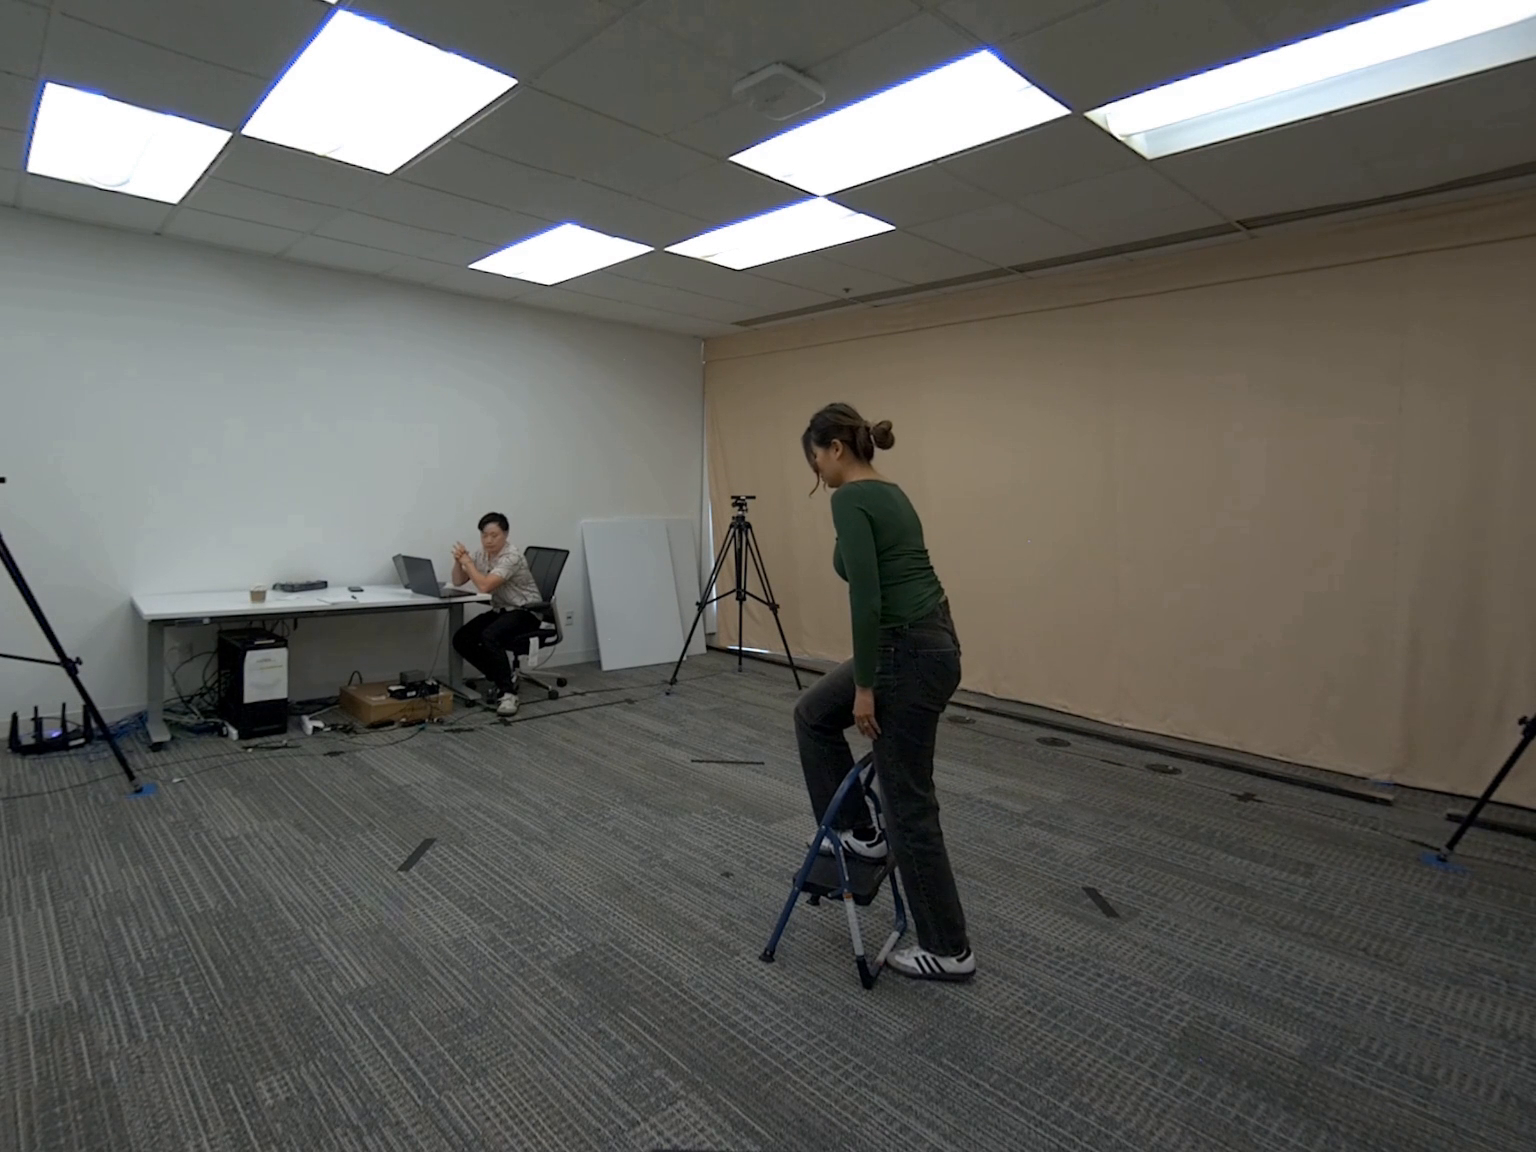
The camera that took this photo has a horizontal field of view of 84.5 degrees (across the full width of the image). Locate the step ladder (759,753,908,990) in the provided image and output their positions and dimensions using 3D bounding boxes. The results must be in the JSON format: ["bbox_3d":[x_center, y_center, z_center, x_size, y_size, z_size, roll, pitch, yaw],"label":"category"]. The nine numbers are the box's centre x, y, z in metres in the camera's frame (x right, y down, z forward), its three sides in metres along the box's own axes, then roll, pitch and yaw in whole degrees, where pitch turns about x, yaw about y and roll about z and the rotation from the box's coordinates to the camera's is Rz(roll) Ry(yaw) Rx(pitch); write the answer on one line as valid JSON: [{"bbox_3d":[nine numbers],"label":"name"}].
[{"bbox_3d":[0.219,0.853,2.627,0.356,0.604,0.423,3,4,25],"label":"step ladder"}]
